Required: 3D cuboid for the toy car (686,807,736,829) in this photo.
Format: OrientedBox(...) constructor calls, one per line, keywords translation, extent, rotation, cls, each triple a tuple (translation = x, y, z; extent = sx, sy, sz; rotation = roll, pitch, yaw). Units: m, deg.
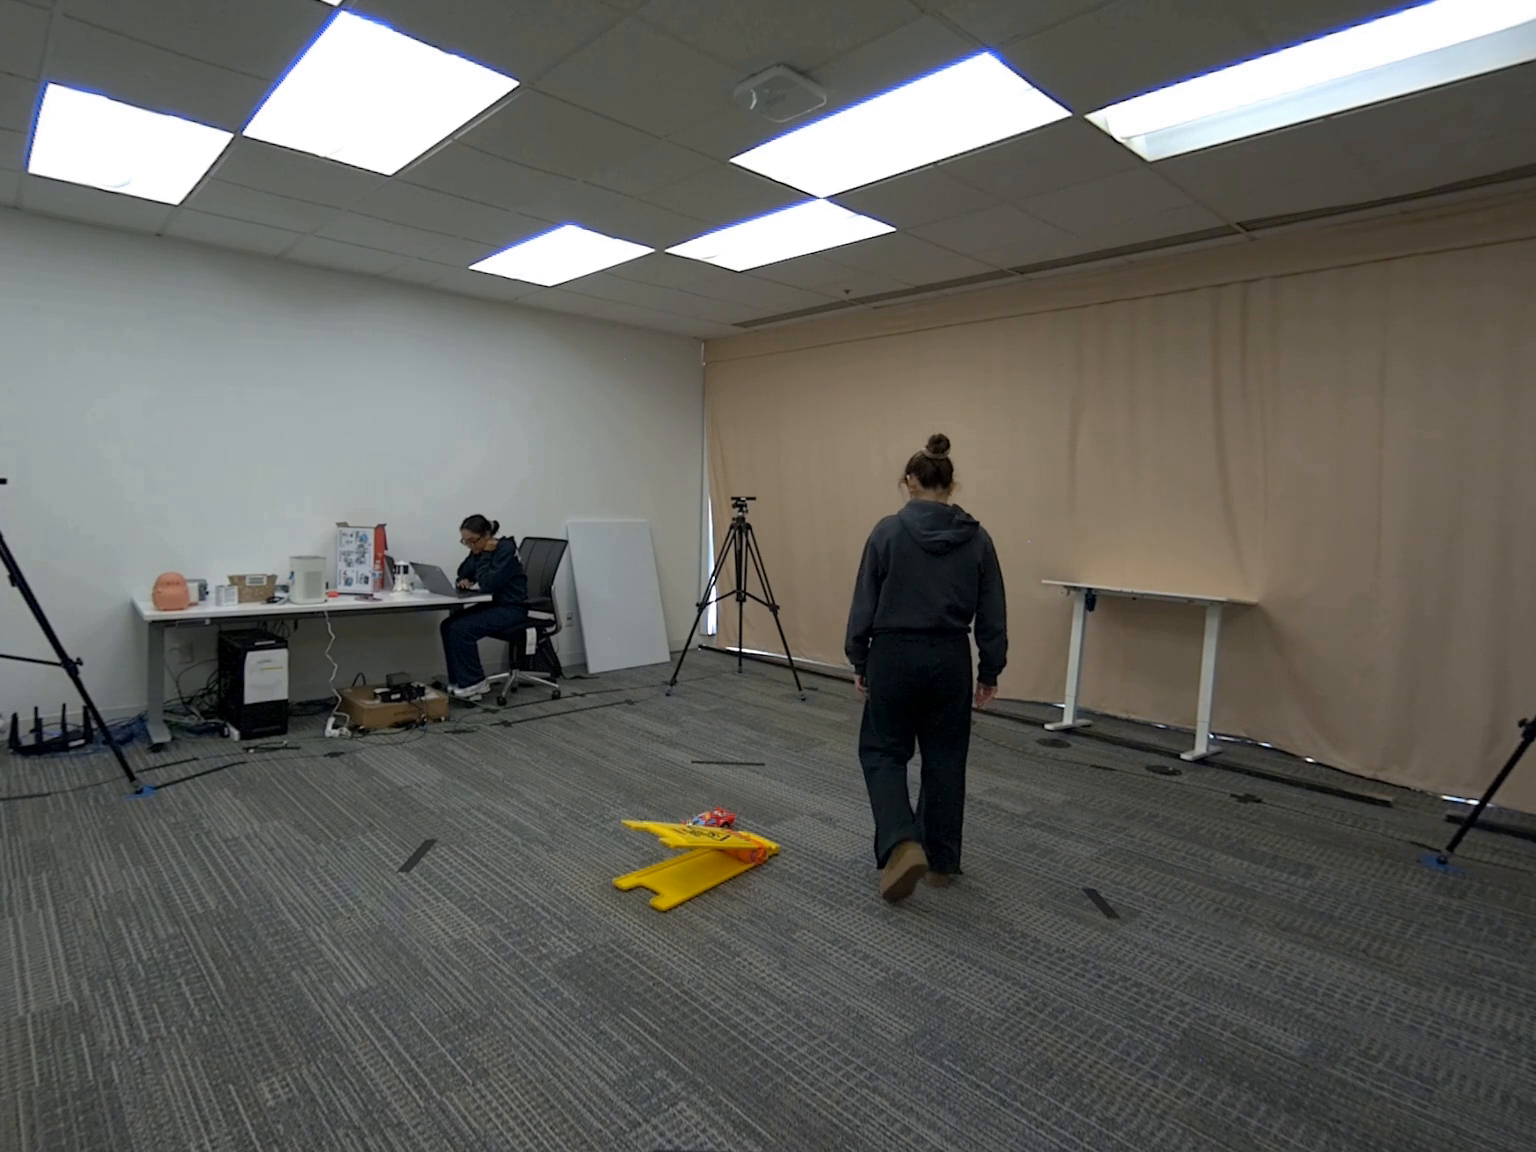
OrientedBox(translation=(-0.260, 1.034, 3.519), extent=(0.250, 0.082, 0.133), rotation=(-17, 15, -39), cls="toy car")
